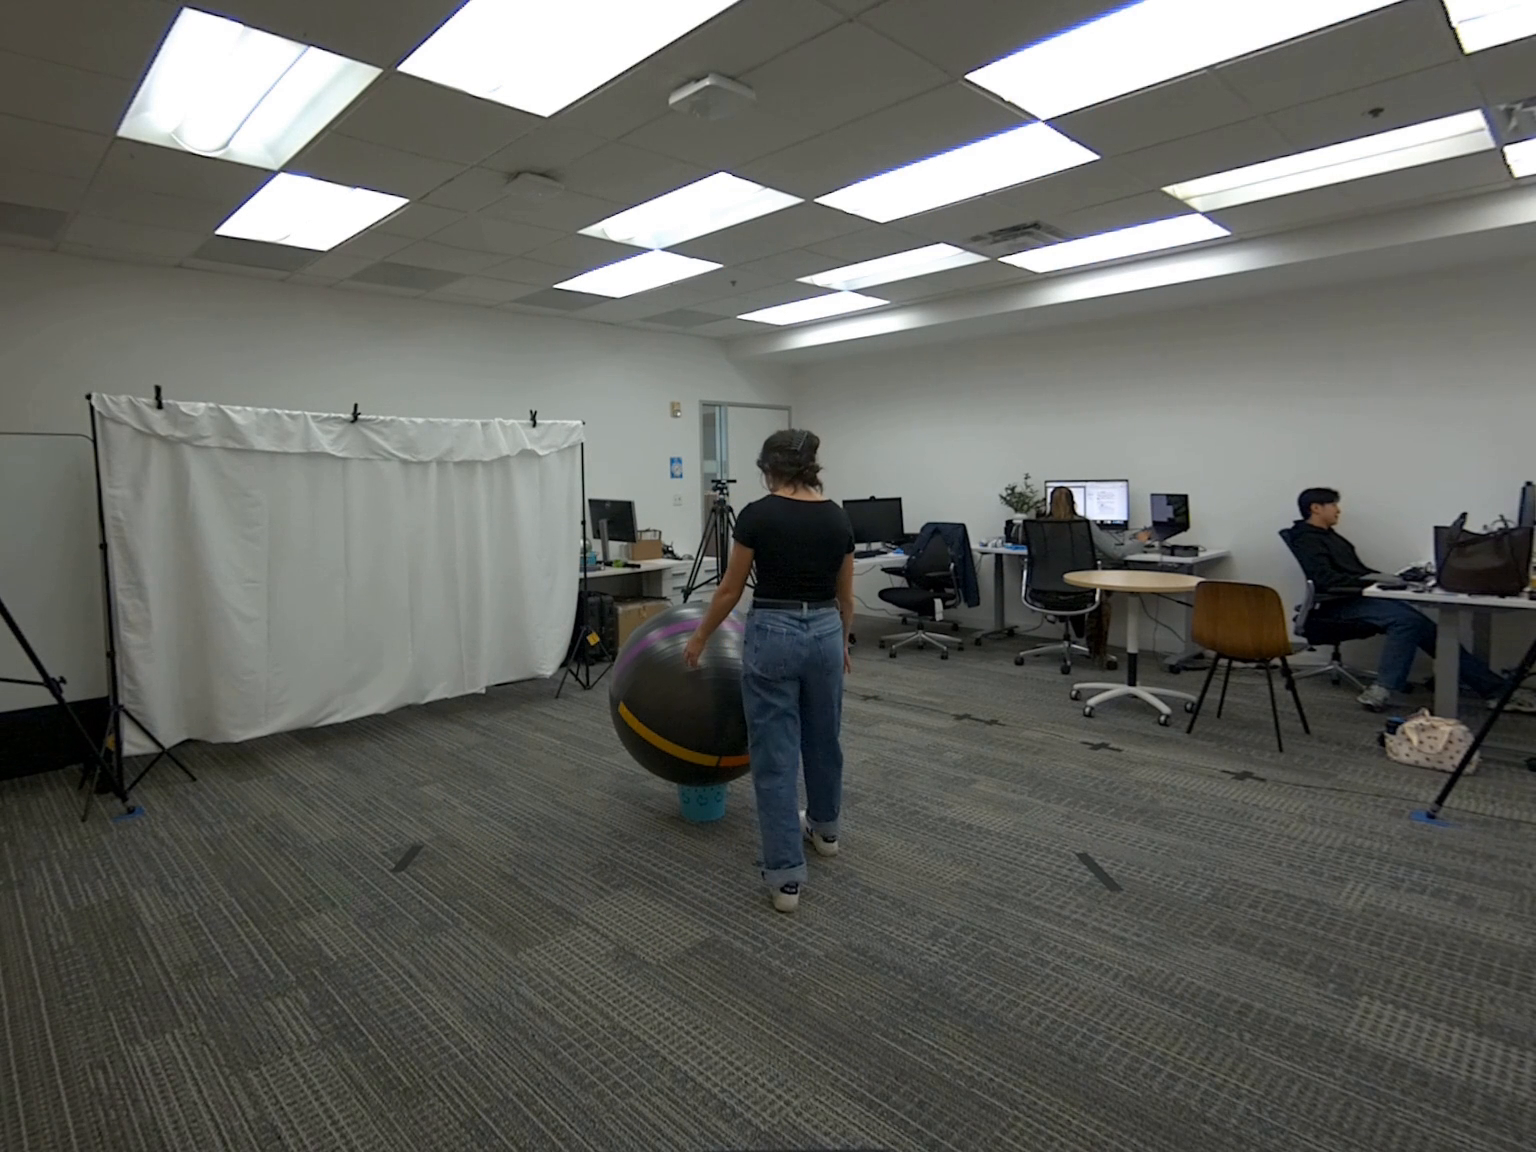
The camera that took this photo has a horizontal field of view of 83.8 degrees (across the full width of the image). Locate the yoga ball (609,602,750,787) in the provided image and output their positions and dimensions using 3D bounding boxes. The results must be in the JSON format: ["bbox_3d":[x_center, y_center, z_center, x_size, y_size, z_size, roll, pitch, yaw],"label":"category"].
[{"bbox_3d":[-0.285,0.495,3.576,0.757,0.755,0.762,-1,5,-2],"label":"yoga ball"}]
